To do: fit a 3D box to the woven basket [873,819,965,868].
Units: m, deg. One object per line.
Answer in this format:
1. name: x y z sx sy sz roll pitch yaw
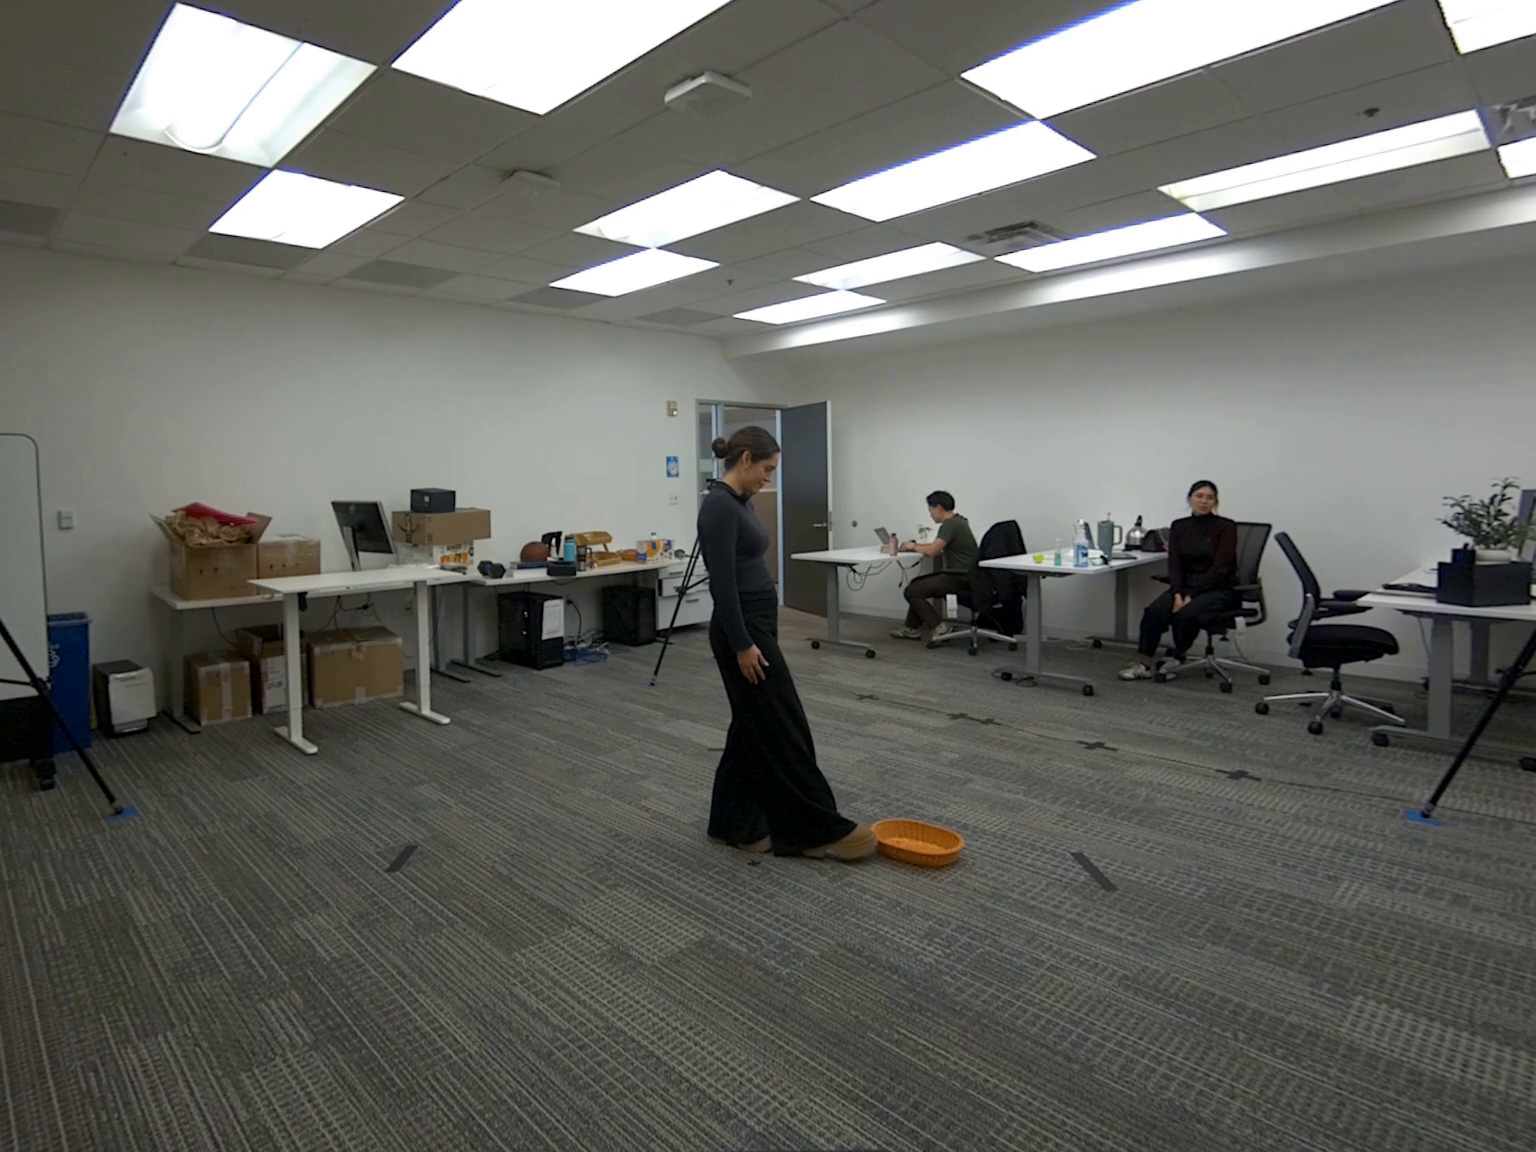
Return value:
1. woven basket: 0.540 0.982 3.144 0.361 0.073 0.246 4 9 38
